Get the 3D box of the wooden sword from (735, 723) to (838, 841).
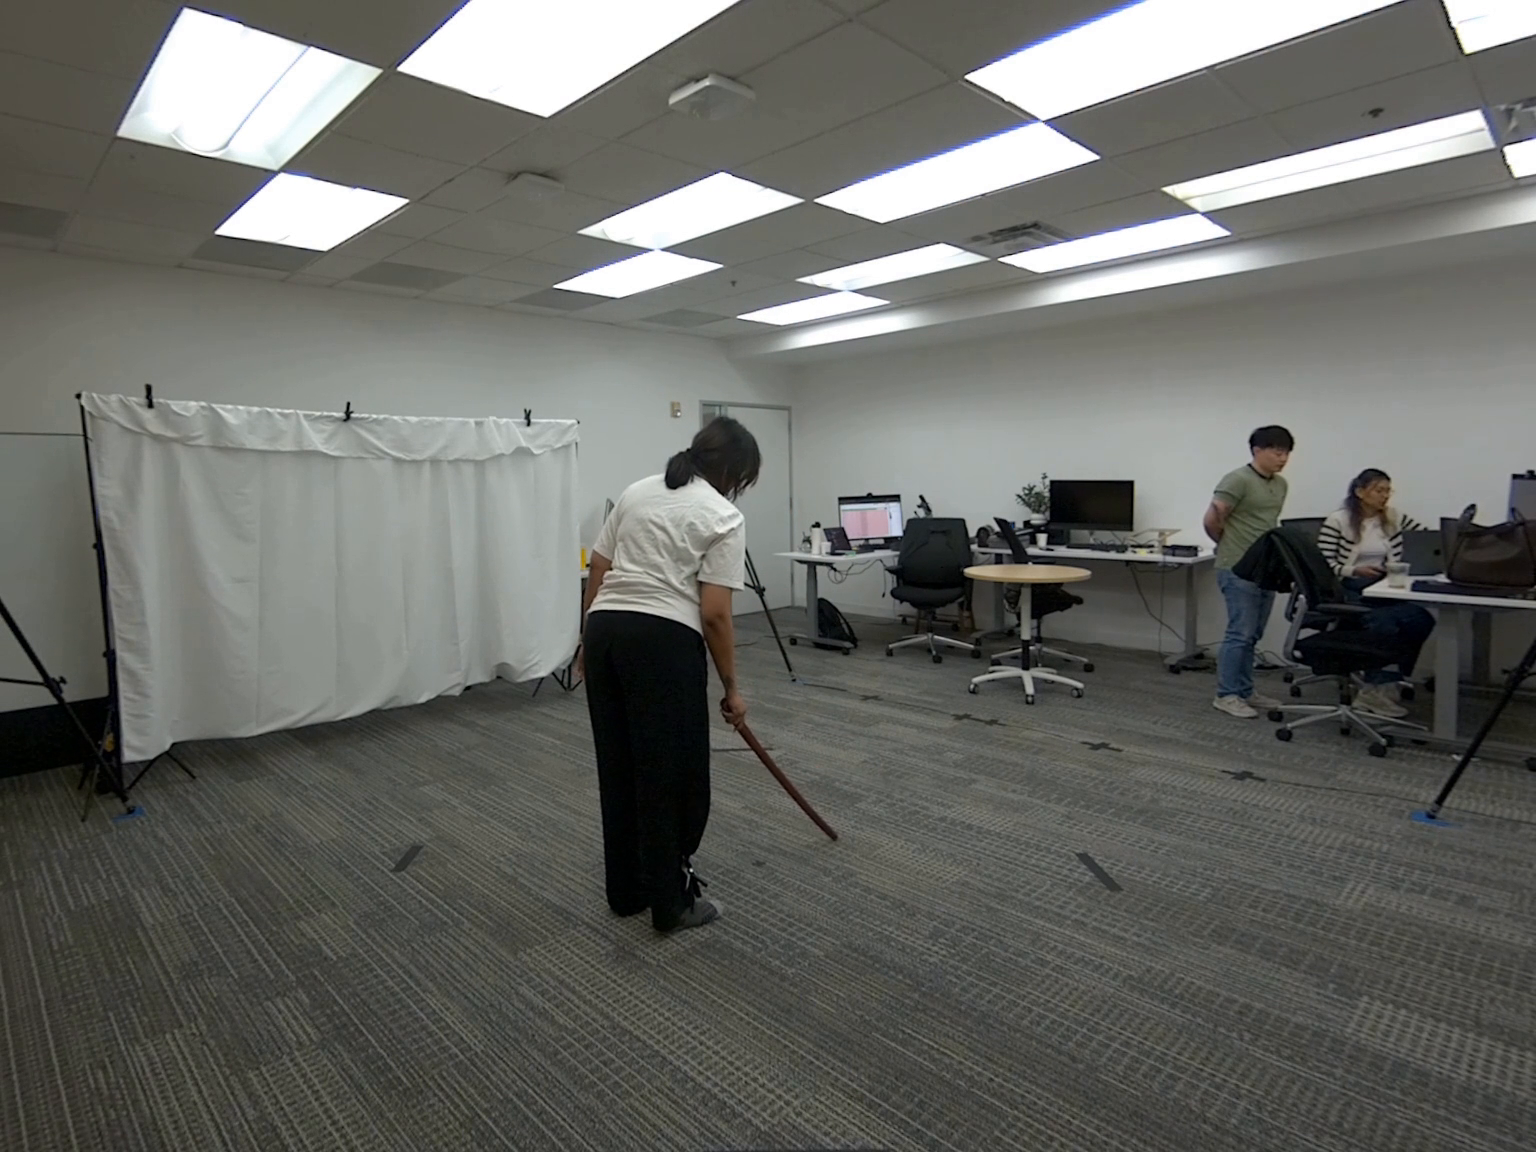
[{"bbox_3d":[0.061,0.710,2.995,0.053,0.024,0.986,21,-25,42],"label":"wooden sword"}]
